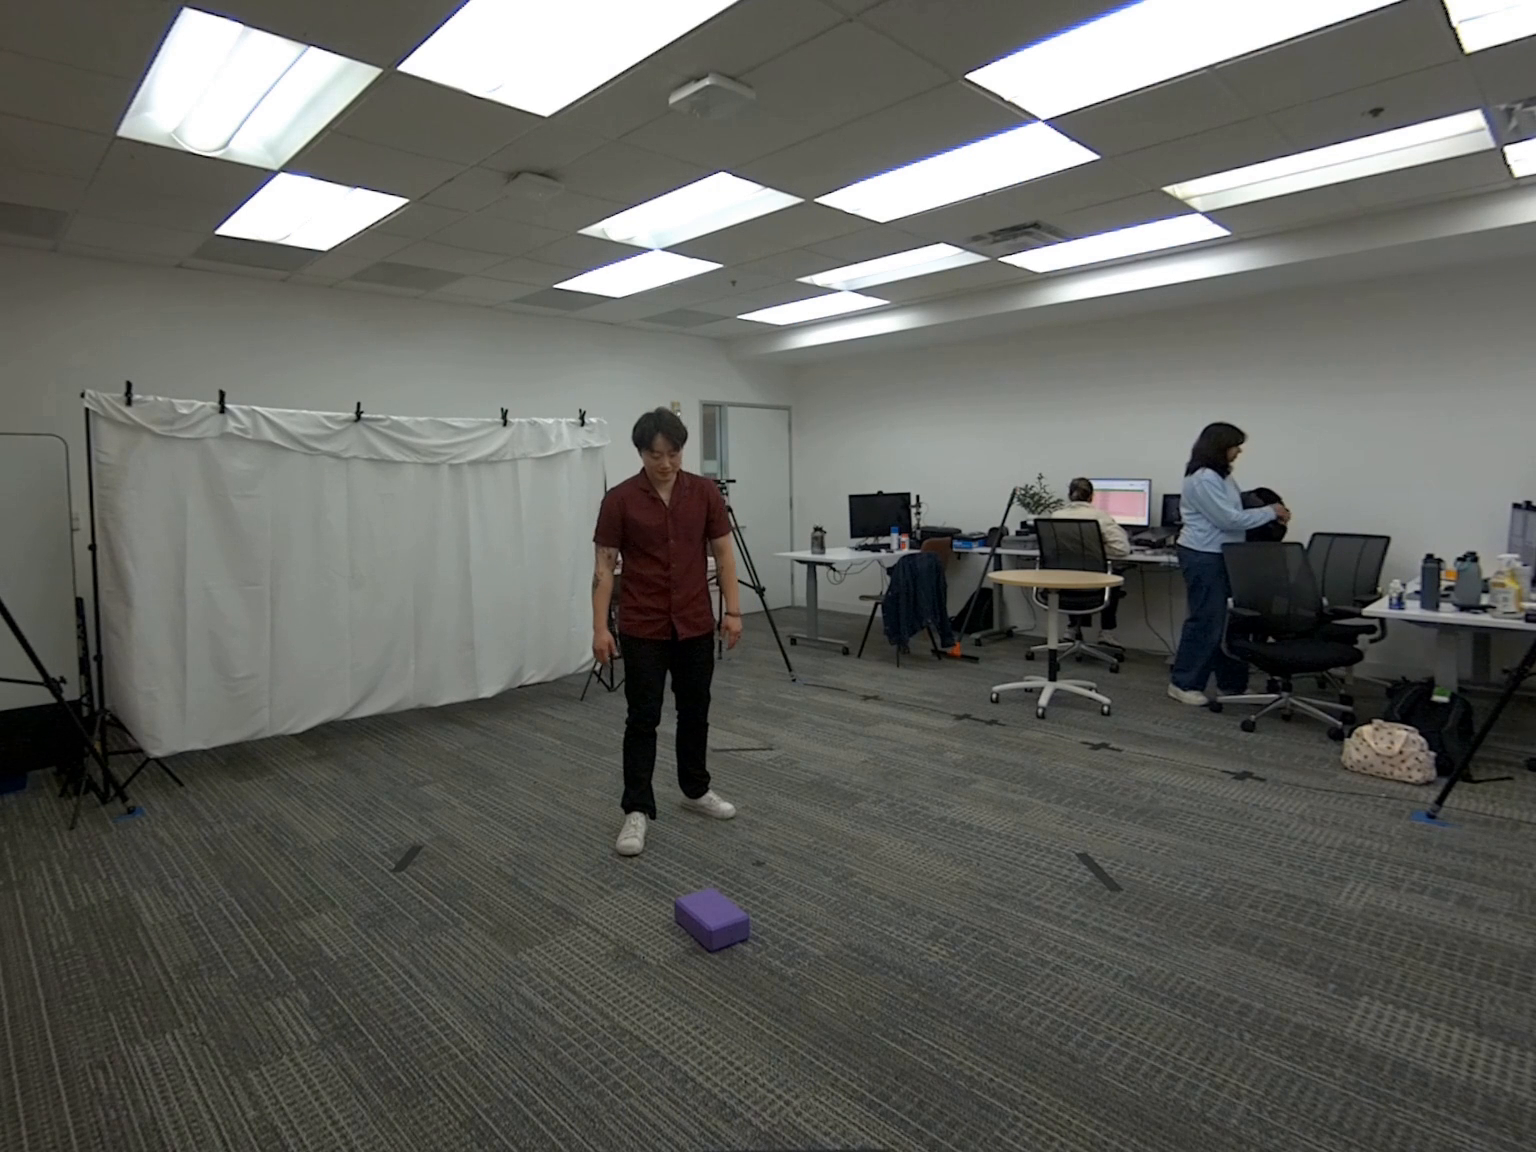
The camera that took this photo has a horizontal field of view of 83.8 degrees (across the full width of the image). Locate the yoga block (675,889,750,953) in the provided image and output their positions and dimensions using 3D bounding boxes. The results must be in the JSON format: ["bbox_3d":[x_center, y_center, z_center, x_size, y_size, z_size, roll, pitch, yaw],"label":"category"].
[{"bbox_3d":[-0.170,1.064,2.651,0.145,0.076,0.236,-5,8,-32],"label":"yoga block"}]
